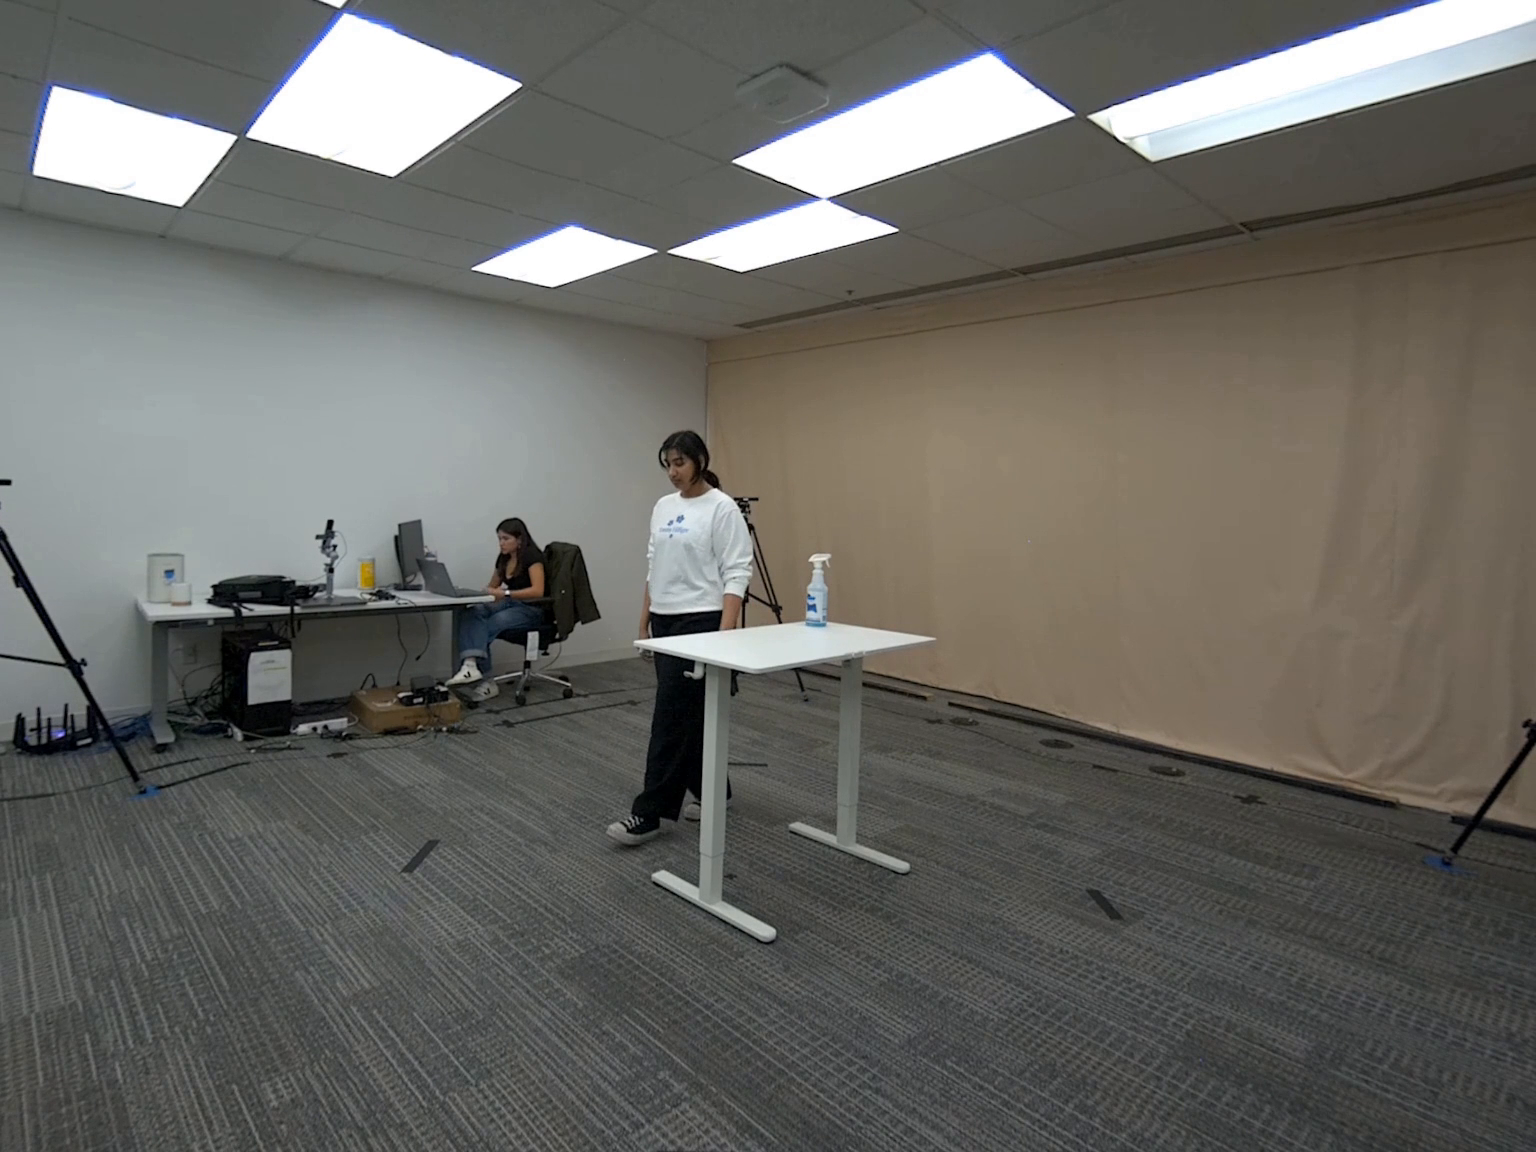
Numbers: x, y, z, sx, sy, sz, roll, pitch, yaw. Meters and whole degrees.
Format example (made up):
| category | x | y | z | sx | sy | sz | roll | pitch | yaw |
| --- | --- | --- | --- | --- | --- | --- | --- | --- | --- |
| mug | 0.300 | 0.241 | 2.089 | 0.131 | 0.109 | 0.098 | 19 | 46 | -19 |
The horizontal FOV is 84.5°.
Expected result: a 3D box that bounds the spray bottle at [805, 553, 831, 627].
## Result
| category | x | y | z | sx | sy | sz | roll | pitch | yaw |
| --- | --- | --- | --- | --- | --- | --- | --- | --- | --- |
| spray bottle | 0.186 | 0.057 | 3.466 | 0.091 | 0.297 | 0.086 | 2 | 3 | 14 |
